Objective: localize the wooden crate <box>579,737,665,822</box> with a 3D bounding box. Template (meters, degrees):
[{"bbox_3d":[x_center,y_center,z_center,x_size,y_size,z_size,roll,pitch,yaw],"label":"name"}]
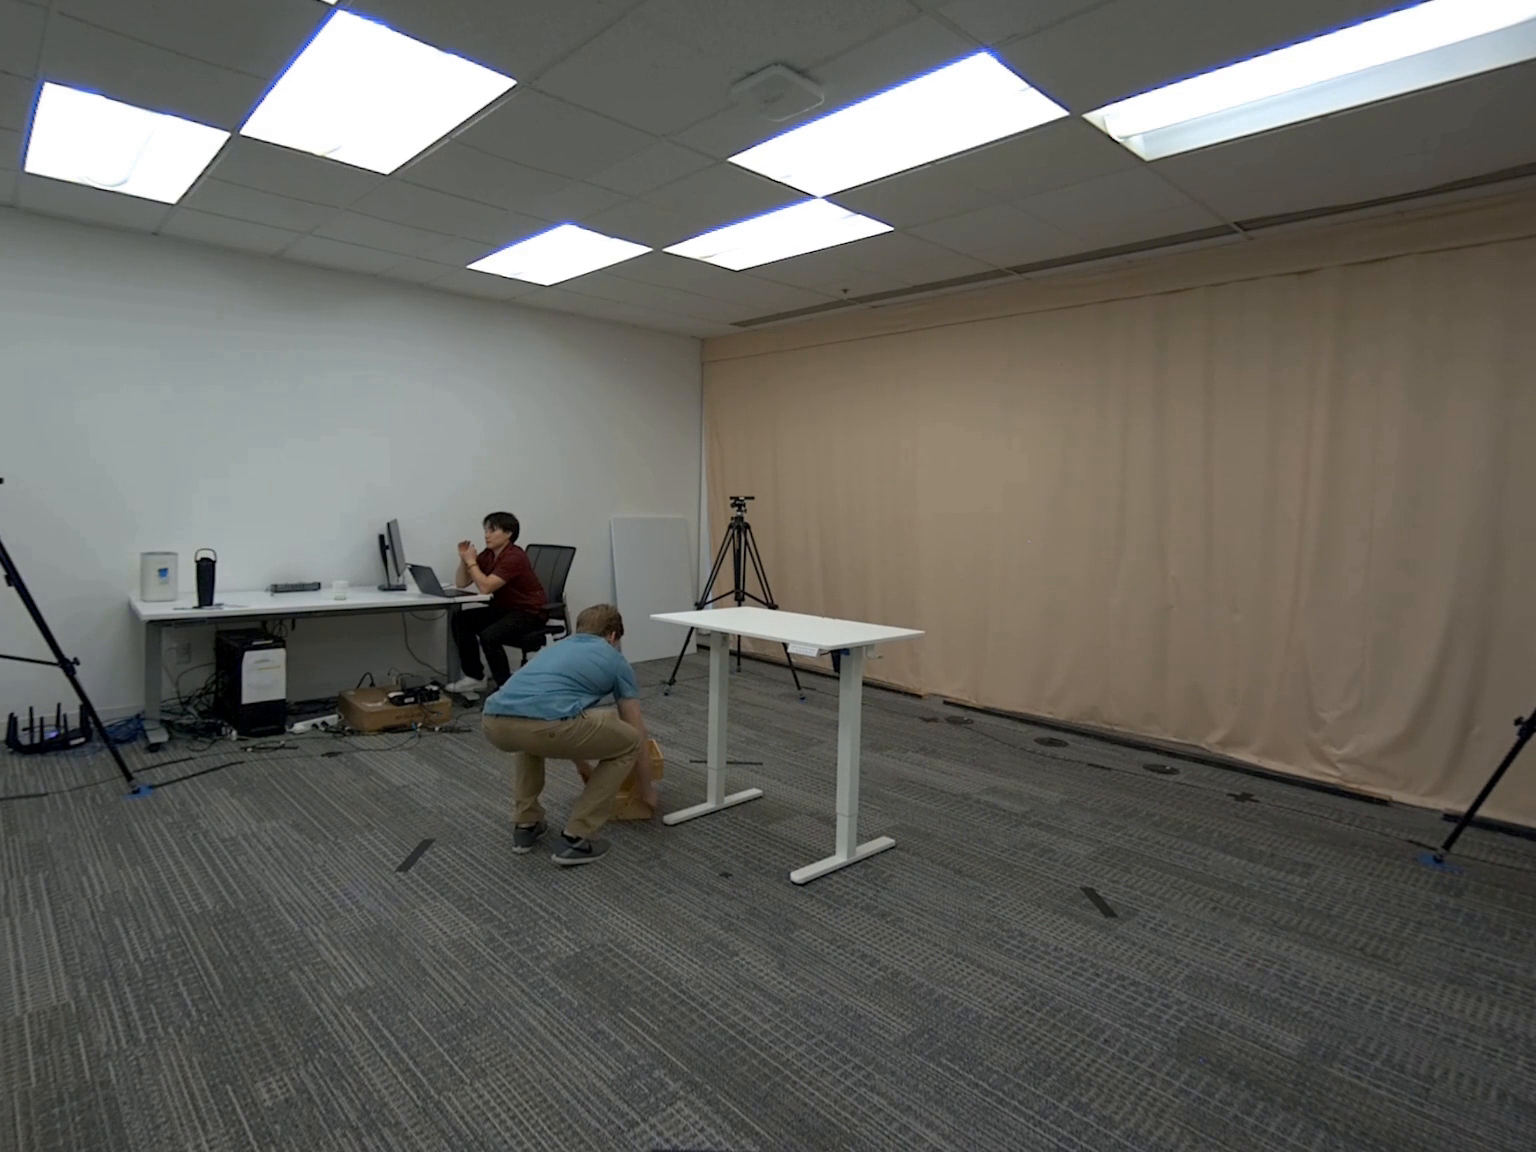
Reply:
[{"bbox_3d":[-0.654,0.898,3.761,0.298,0.272,0.329,1,4,-15],"label":"wooden crate"}]
